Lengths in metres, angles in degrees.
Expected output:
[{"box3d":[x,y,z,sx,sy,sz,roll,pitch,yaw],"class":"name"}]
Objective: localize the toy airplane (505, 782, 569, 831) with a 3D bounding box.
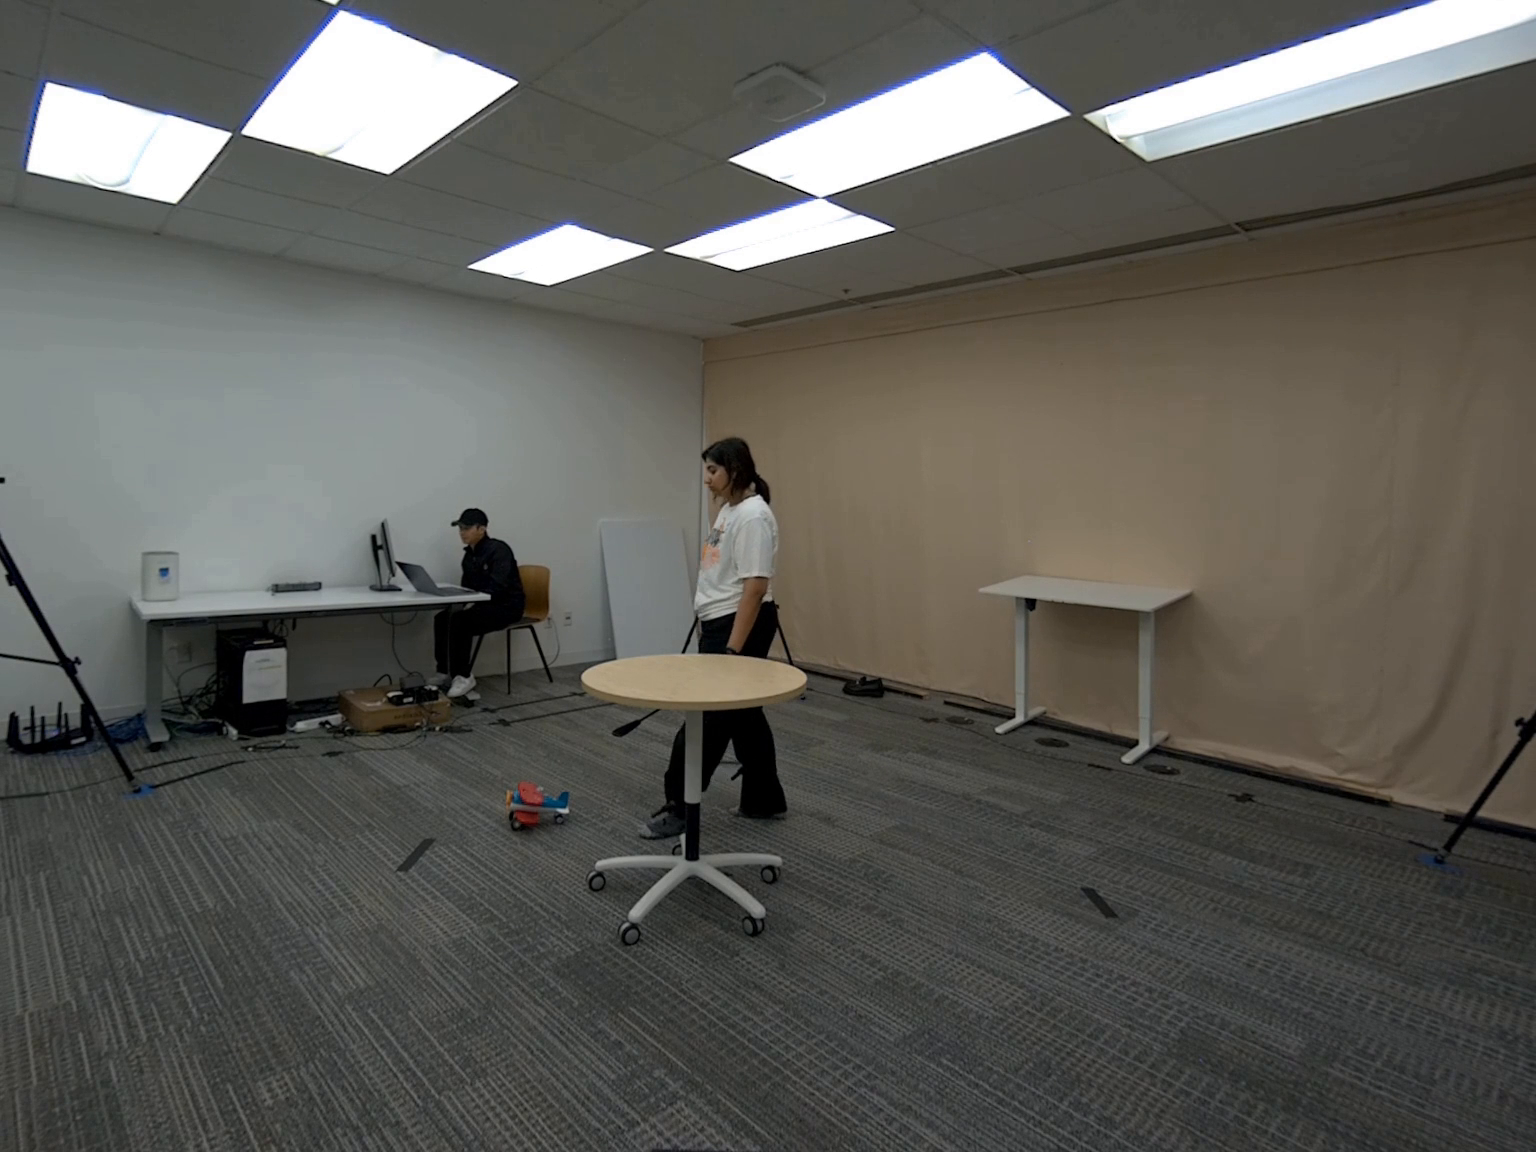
[{"box3d":[-0.996,0.971,3.559,0.257,0.156,0.253,5,7,41],"class":"toy airplane"}]
